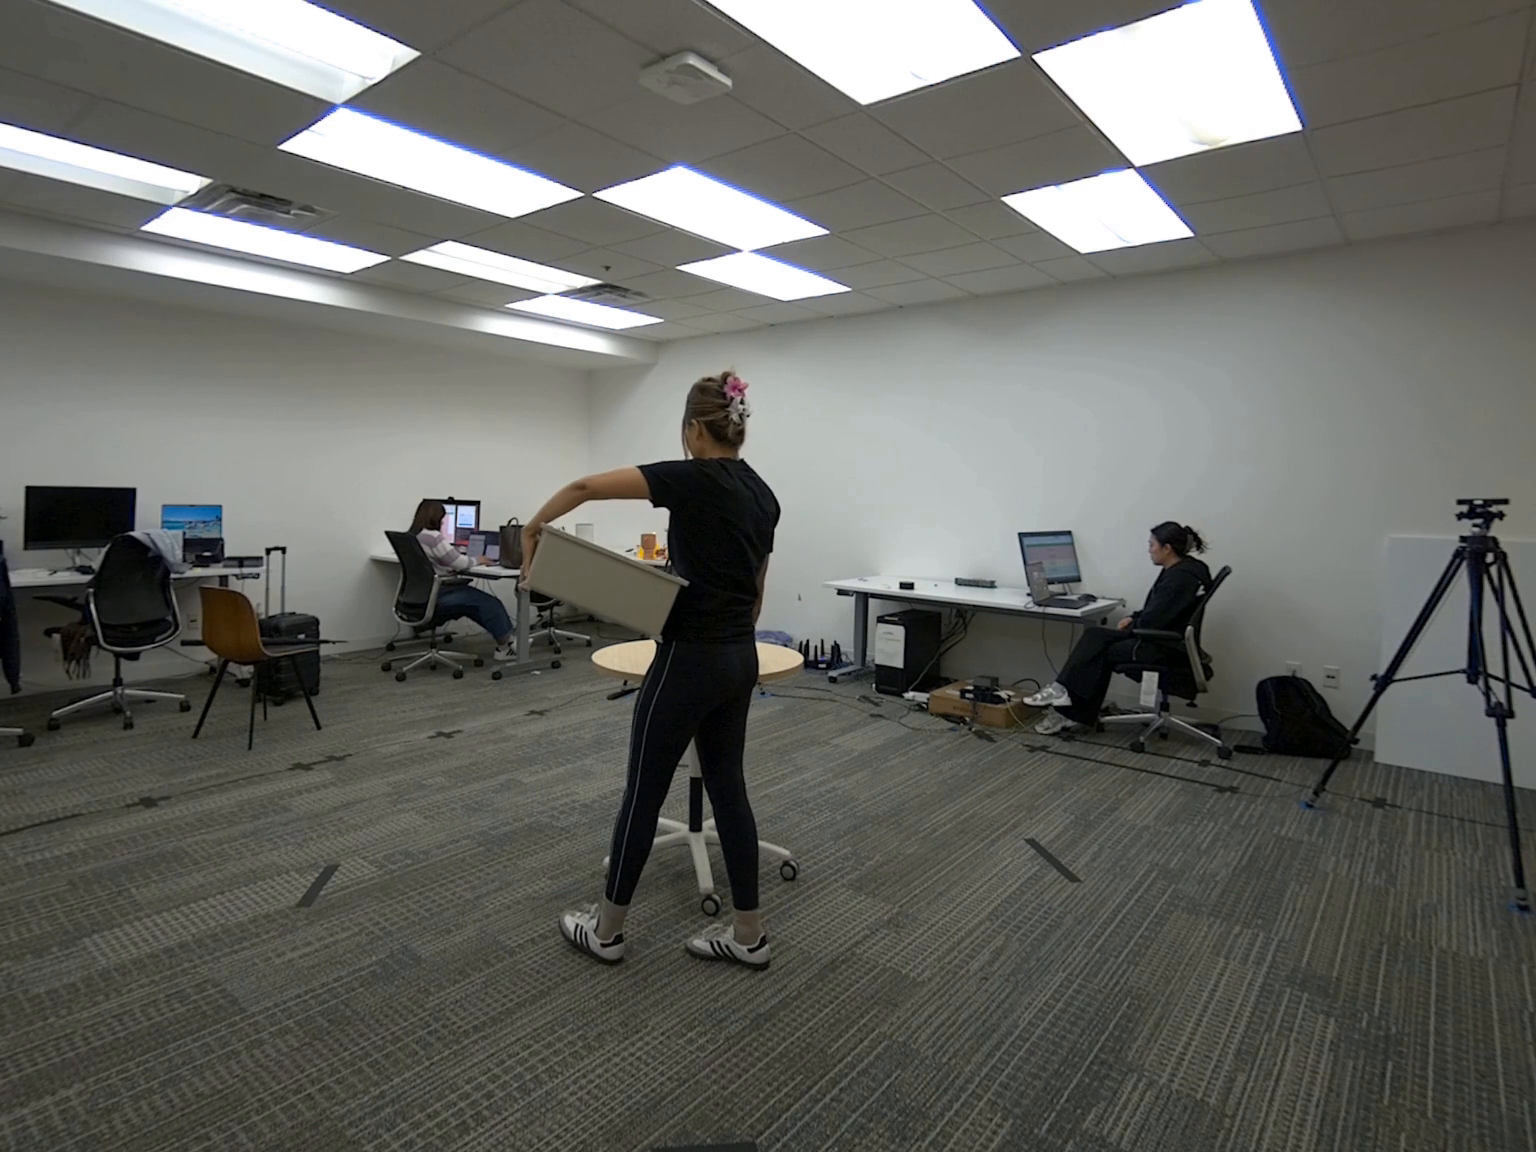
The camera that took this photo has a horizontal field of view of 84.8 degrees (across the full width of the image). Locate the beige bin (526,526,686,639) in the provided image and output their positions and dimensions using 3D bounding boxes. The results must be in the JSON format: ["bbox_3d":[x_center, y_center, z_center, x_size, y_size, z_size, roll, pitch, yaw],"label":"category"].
[{"bbox_3d":[-0.481,0.010,2.449,0.419,0.189,0.381,23,0,-7],"label":"beige bin"}]
